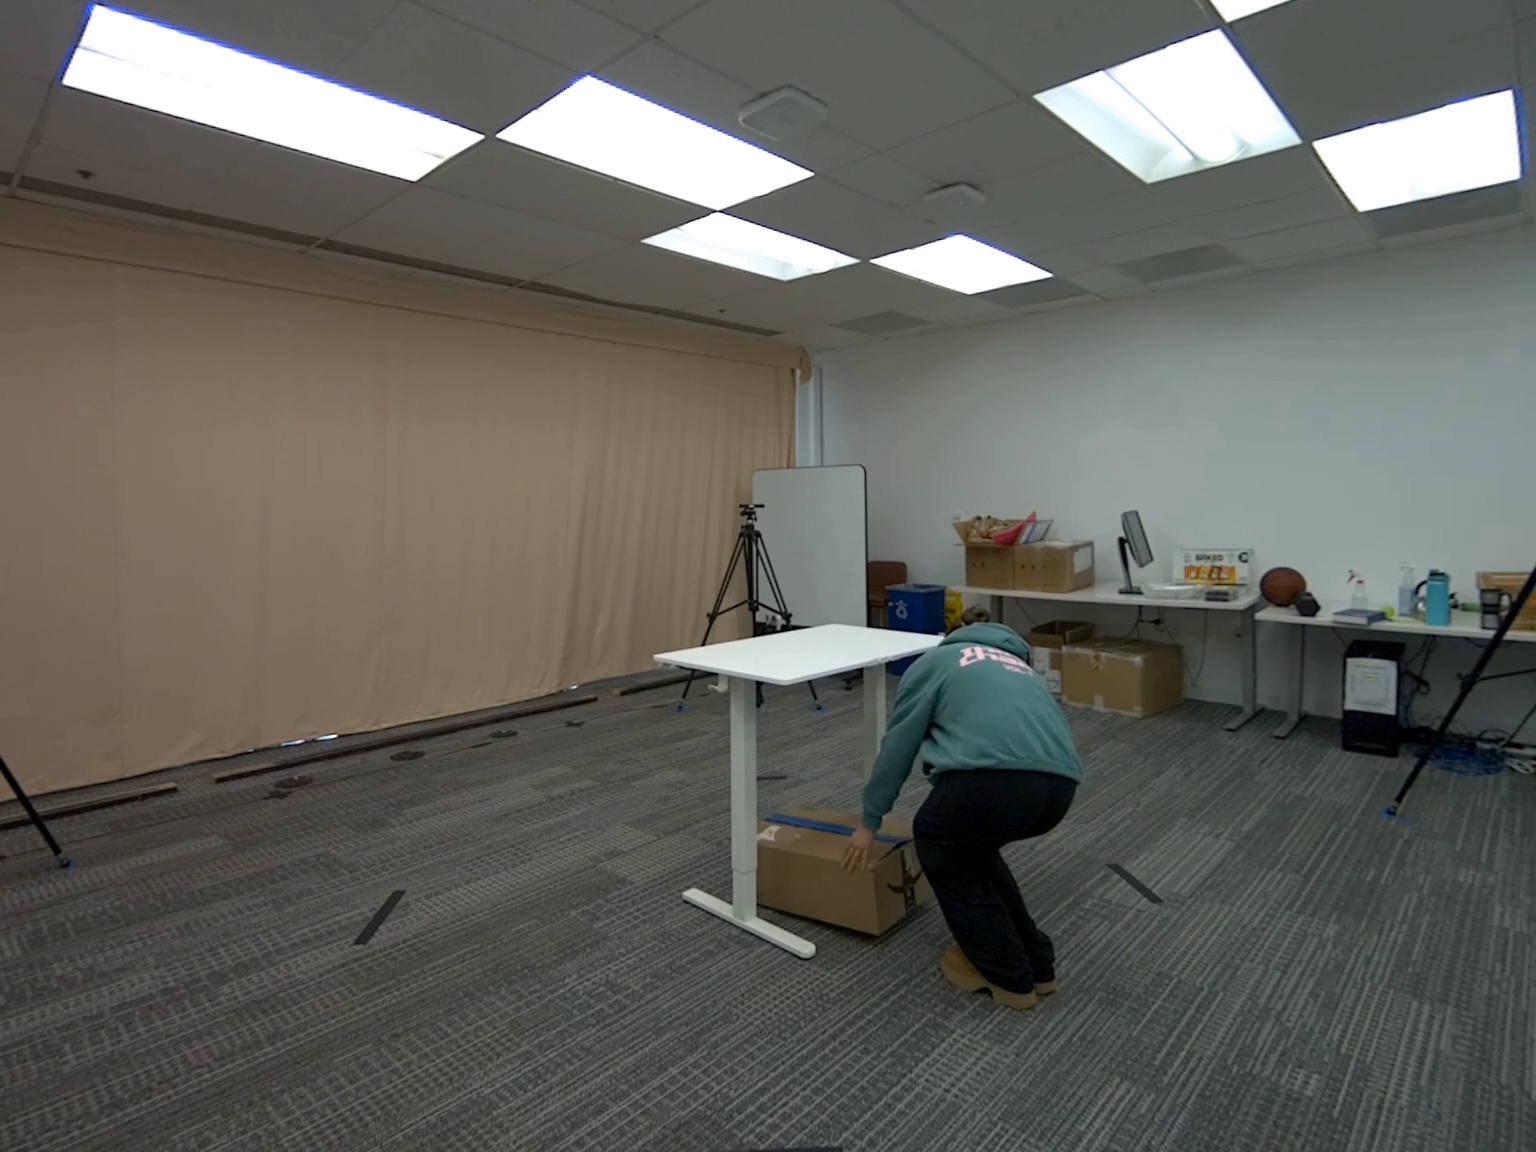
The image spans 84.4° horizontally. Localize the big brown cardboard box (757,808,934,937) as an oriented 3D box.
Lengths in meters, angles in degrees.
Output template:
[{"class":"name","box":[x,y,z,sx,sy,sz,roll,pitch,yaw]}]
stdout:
[{"class":"big brown cardboard box","box":[0.235,0.999,2.944,0.607,0.233,0.405,-1,3,39]}]
